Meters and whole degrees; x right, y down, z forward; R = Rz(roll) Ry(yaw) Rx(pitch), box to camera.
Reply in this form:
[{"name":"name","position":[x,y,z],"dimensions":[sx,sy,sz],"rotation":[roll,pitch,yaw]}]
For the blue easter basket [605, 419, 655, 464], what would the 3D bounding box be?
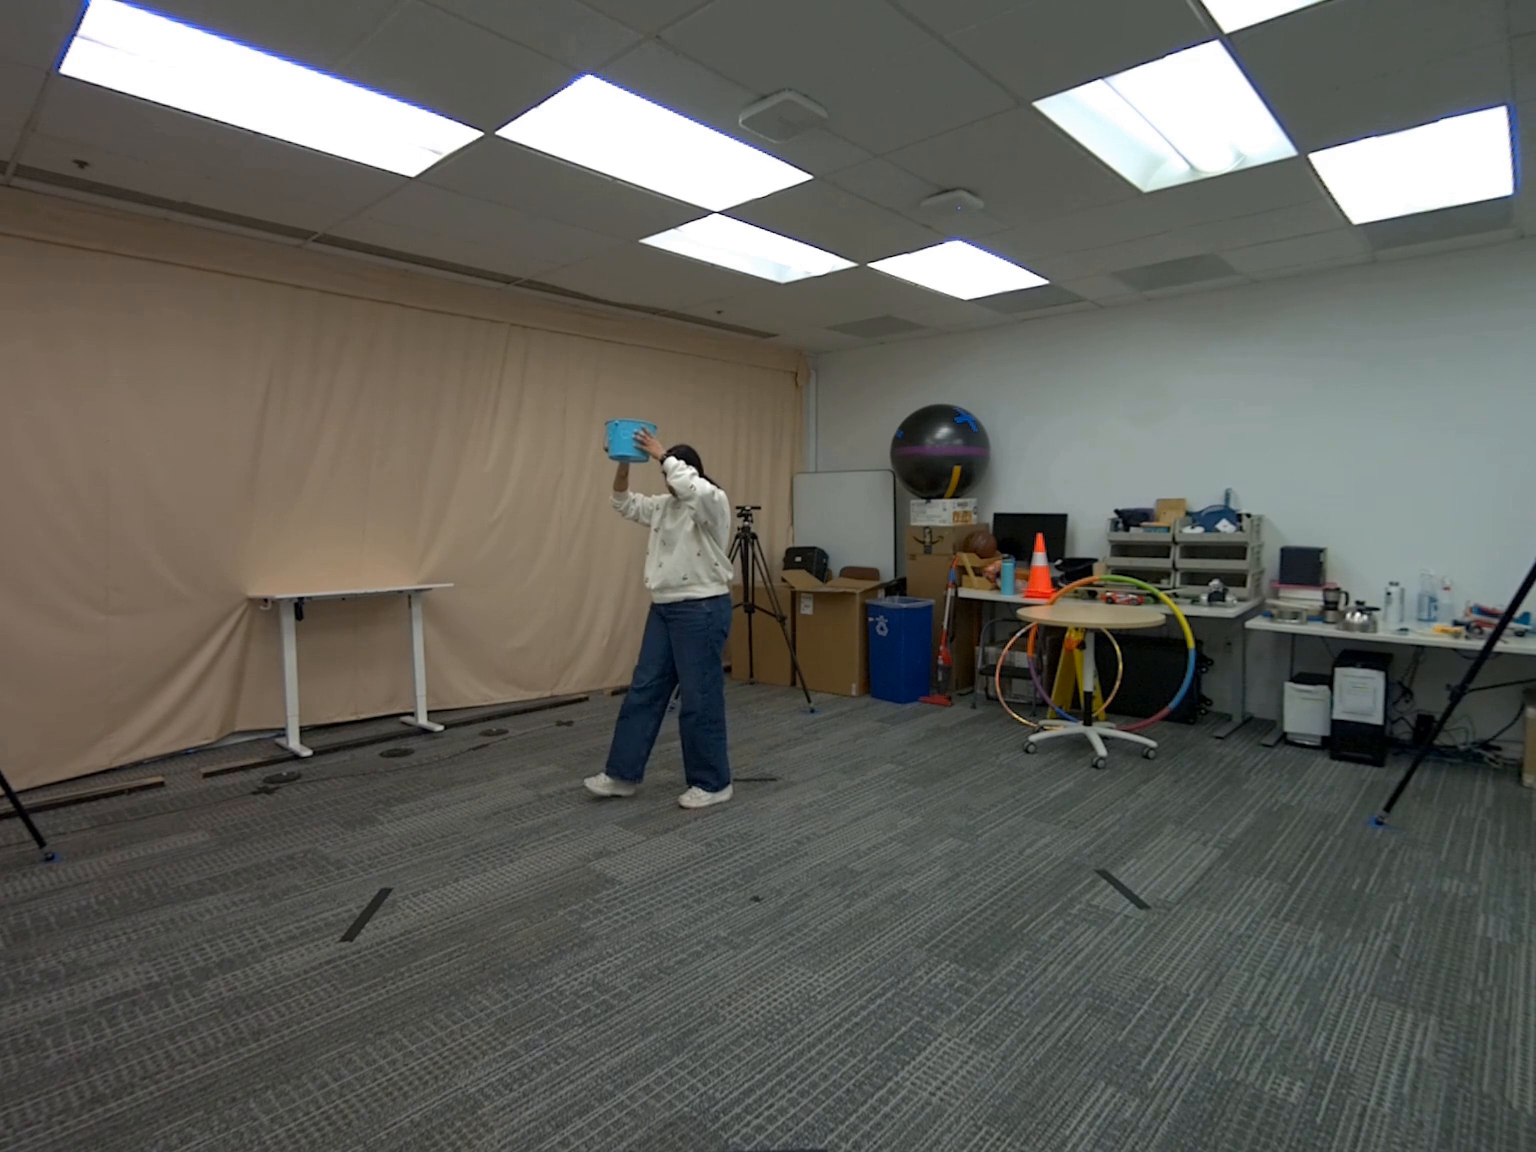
[{"name":"blue easter basket","position":[-0.622,-0.598,3.769],"dimensions":[0.243,0.156,0.243],"rotation":[3,-3,-2]}]
